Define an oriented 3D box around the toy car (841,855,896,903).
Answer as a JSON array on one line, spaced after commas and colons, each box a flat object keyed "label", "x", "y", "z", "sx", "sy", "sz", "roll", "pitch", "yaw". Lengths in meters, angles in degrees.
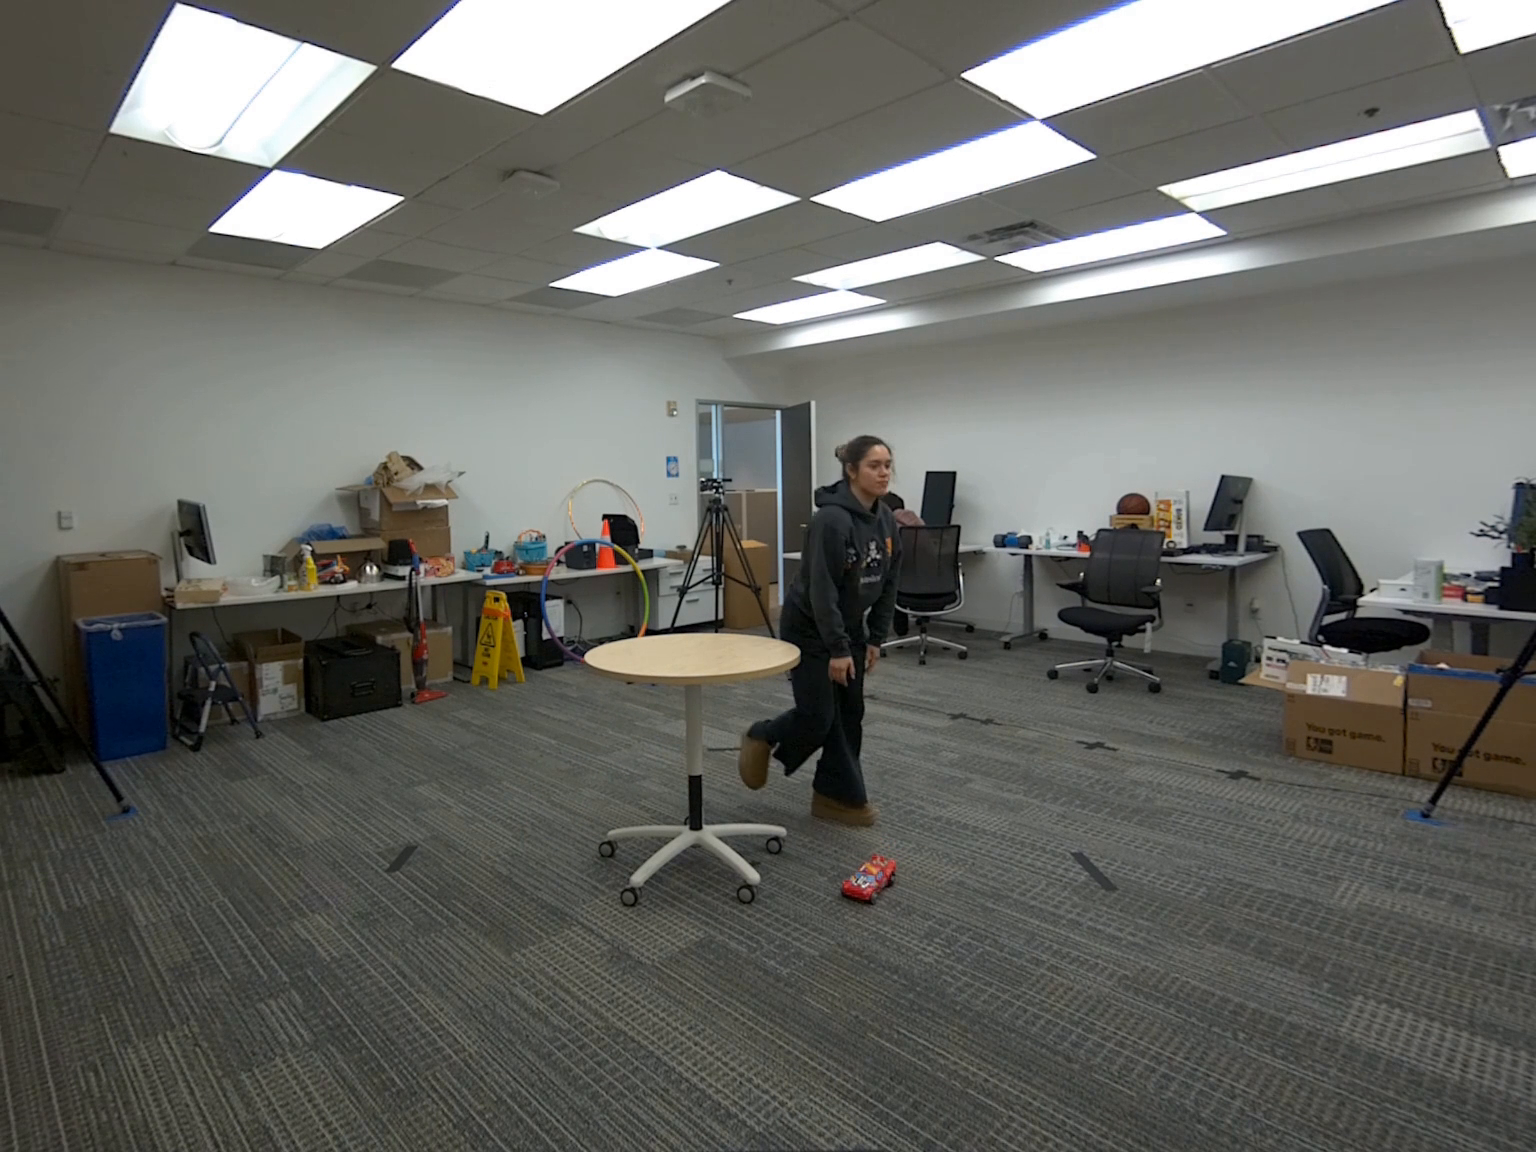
[{"label": "toy car", "x": 0.358, "y": 1.039, "z": 2.889, "sx": 0.134, "sy": 0.082, "sz": 0.251, "roll": 1, "pitch": 17, "yaw": 34}]
